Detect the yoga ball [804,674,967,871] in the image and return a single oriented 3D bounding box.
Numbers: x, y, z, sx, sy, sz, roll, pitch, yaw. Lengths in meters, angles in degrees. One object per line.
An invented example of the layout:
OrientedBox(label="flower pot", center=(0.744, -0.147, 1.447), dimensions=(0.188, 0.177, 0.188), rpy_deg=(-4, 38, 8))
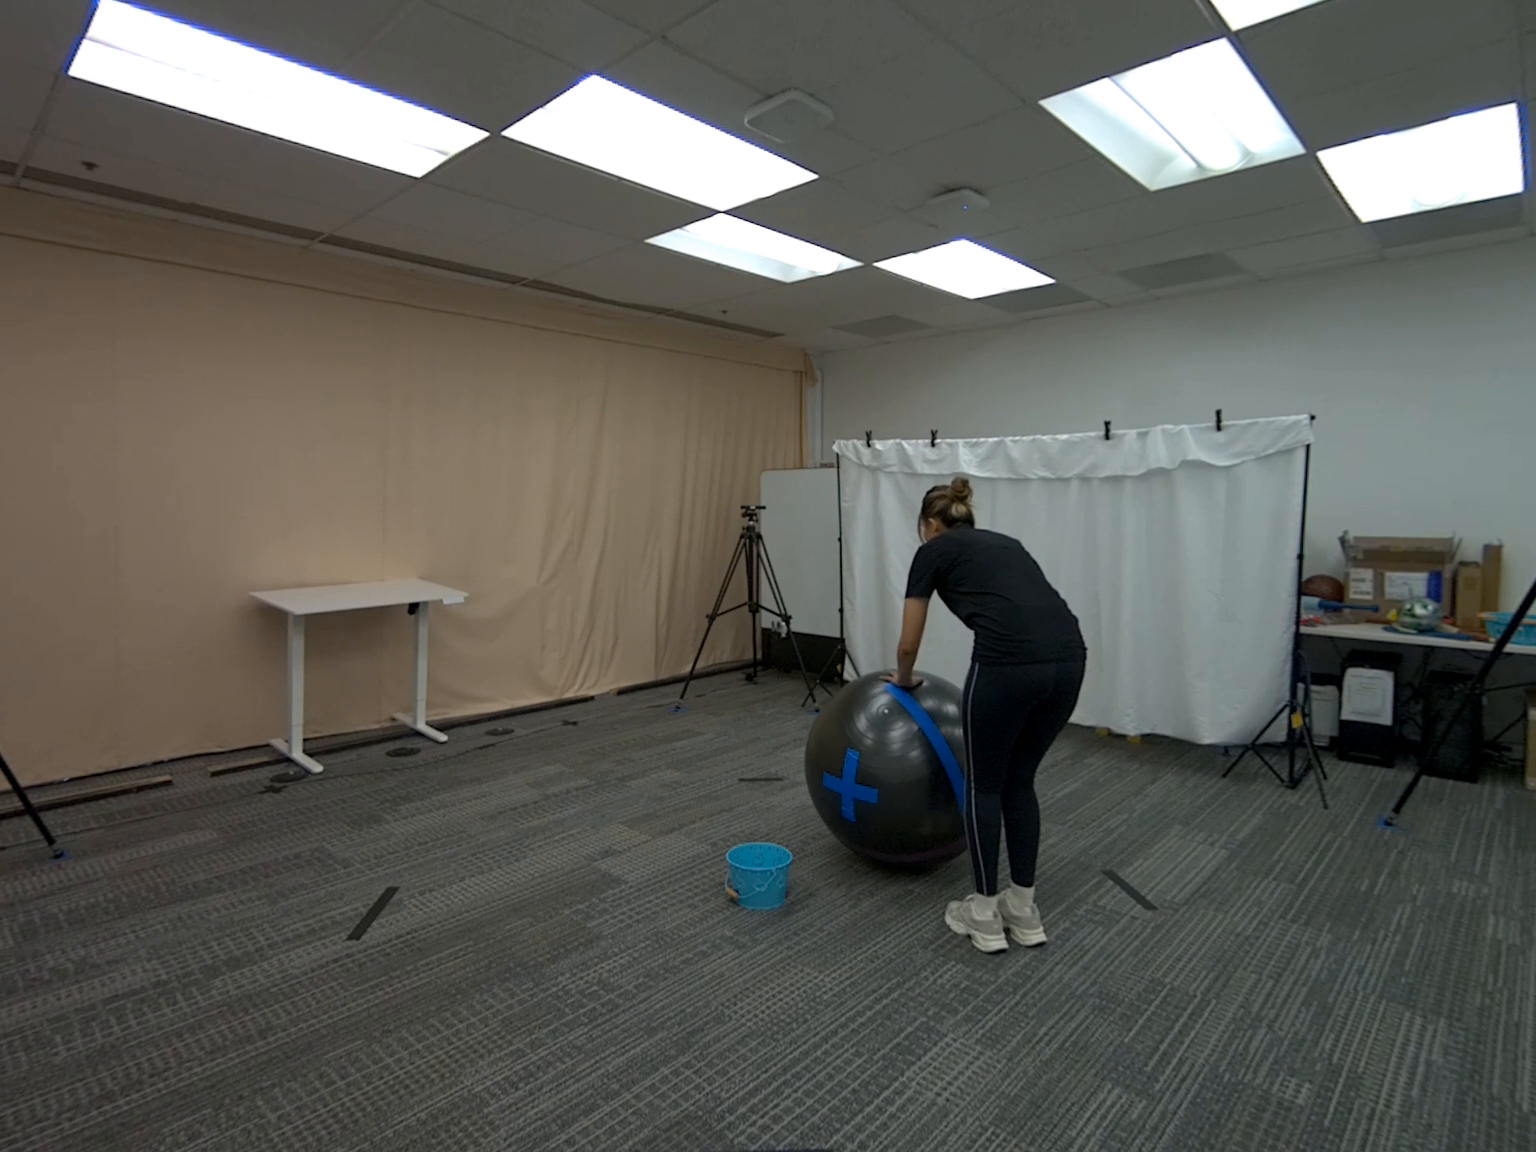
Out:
OrientedBox(label="yoga ball", center=(0.529, 0.744, 3.301), dimensions=(0.757, 0.756, 0.760), rpy_deg=(0, 4, -2))
